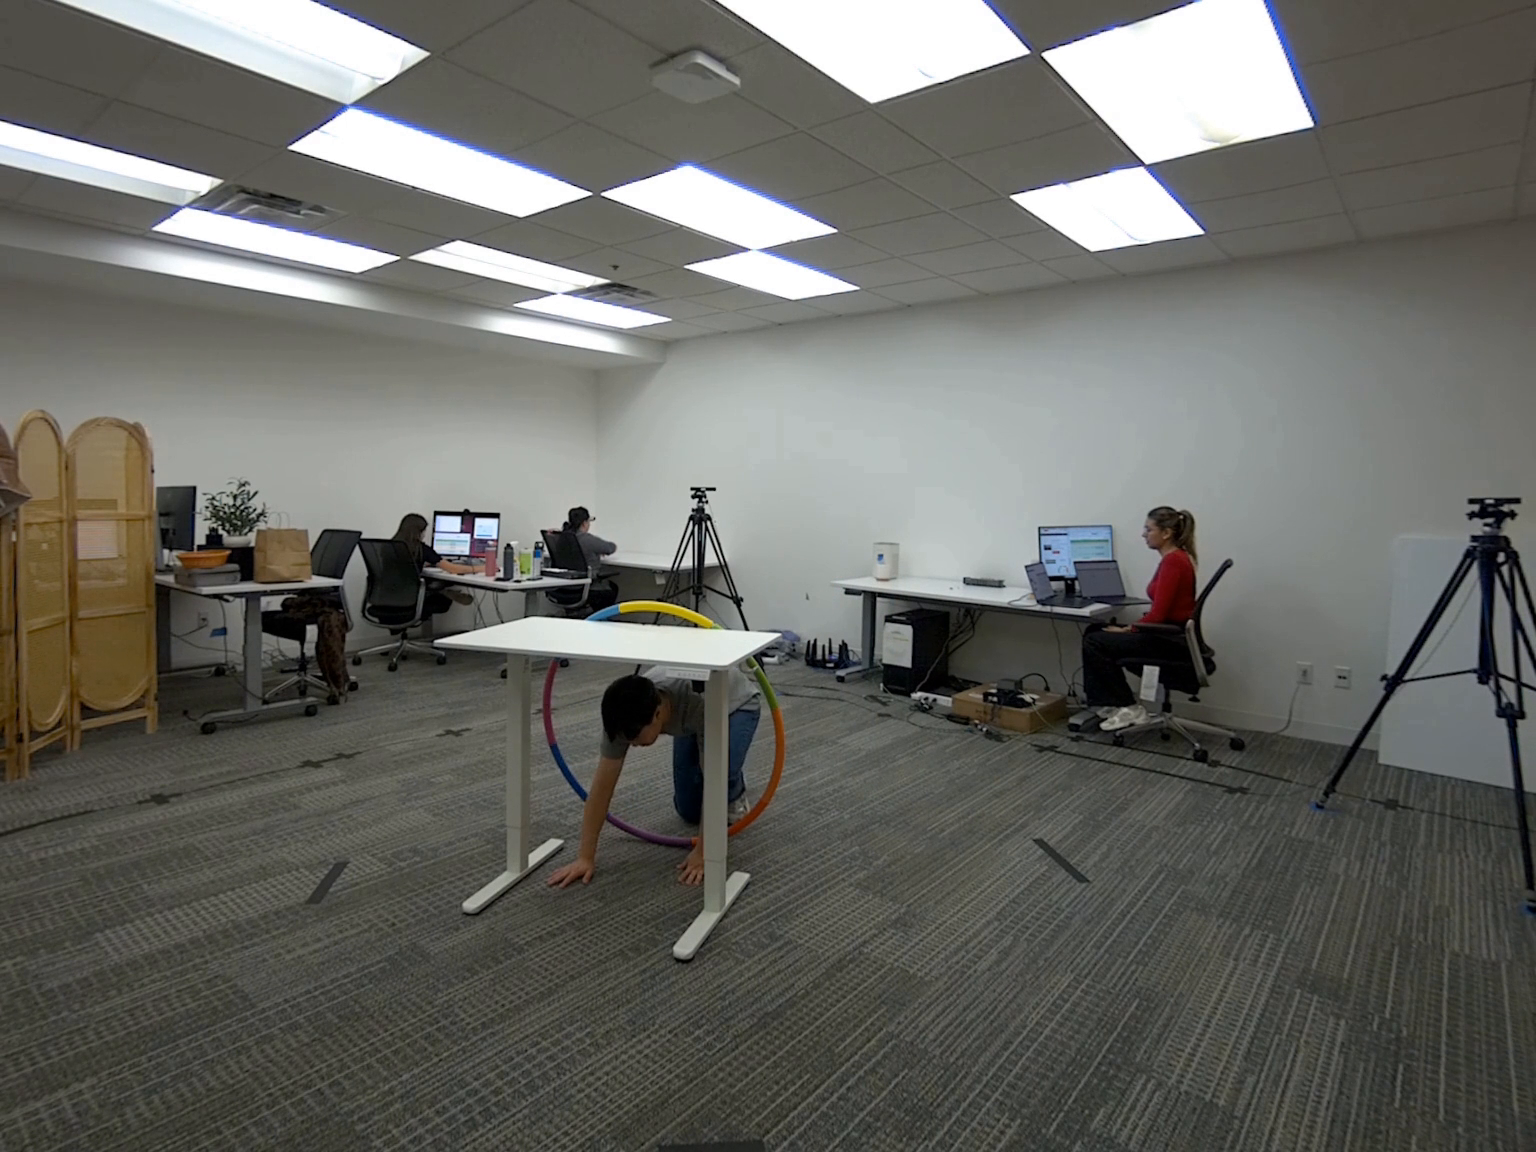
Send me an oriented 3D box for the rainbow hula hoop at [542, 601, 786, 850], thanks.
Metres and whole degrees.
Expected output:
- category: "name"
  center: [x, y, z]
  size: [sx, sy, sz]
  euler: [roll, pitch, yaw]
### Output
- category: "rainbow hula hoop"
  center: [-0.424, 0.569, 3.218]
  size: [0.998, 0.967, 0.035]
  euler: [3, 13, 18]
